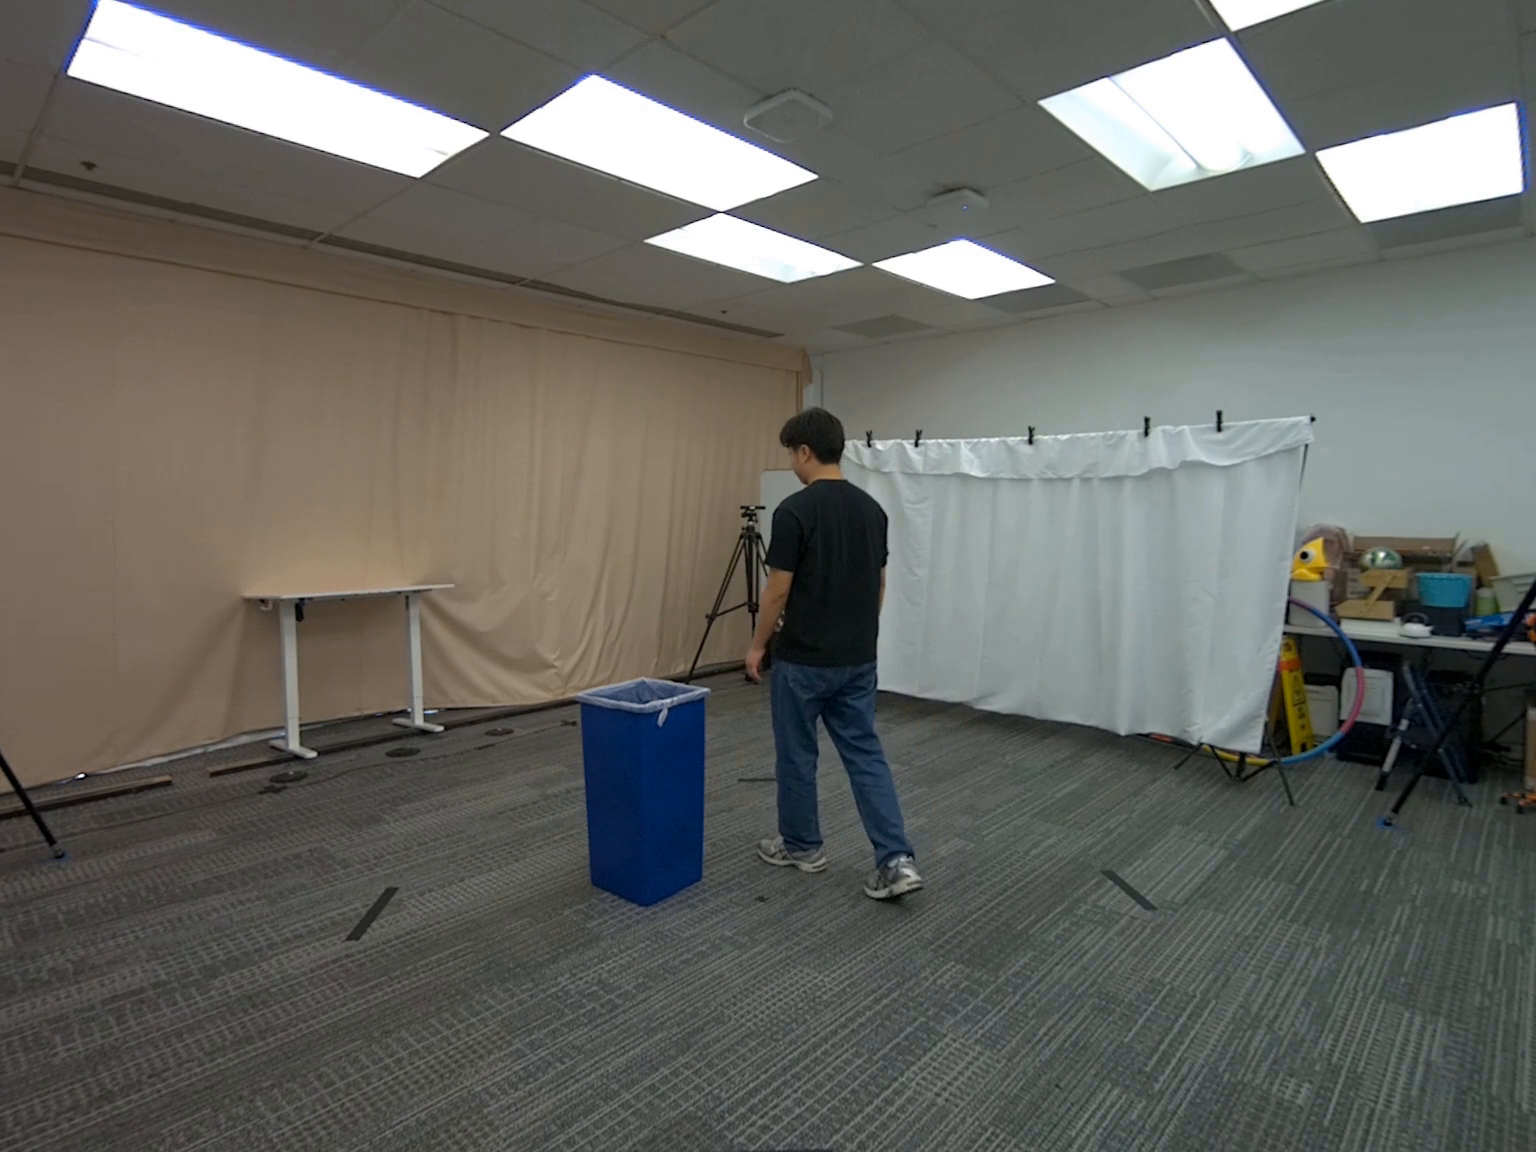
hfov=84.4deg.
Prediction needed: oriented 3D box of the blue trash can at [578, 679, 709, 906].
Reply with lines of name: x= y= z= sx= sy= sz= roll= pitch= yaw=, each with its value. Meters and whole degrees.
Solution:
blue trash can: x=-0.462 y=0.781 z=3.115 sx=0.386 sy=0.712 sz=0.366 roll=2 pitch=4 yaw=39
